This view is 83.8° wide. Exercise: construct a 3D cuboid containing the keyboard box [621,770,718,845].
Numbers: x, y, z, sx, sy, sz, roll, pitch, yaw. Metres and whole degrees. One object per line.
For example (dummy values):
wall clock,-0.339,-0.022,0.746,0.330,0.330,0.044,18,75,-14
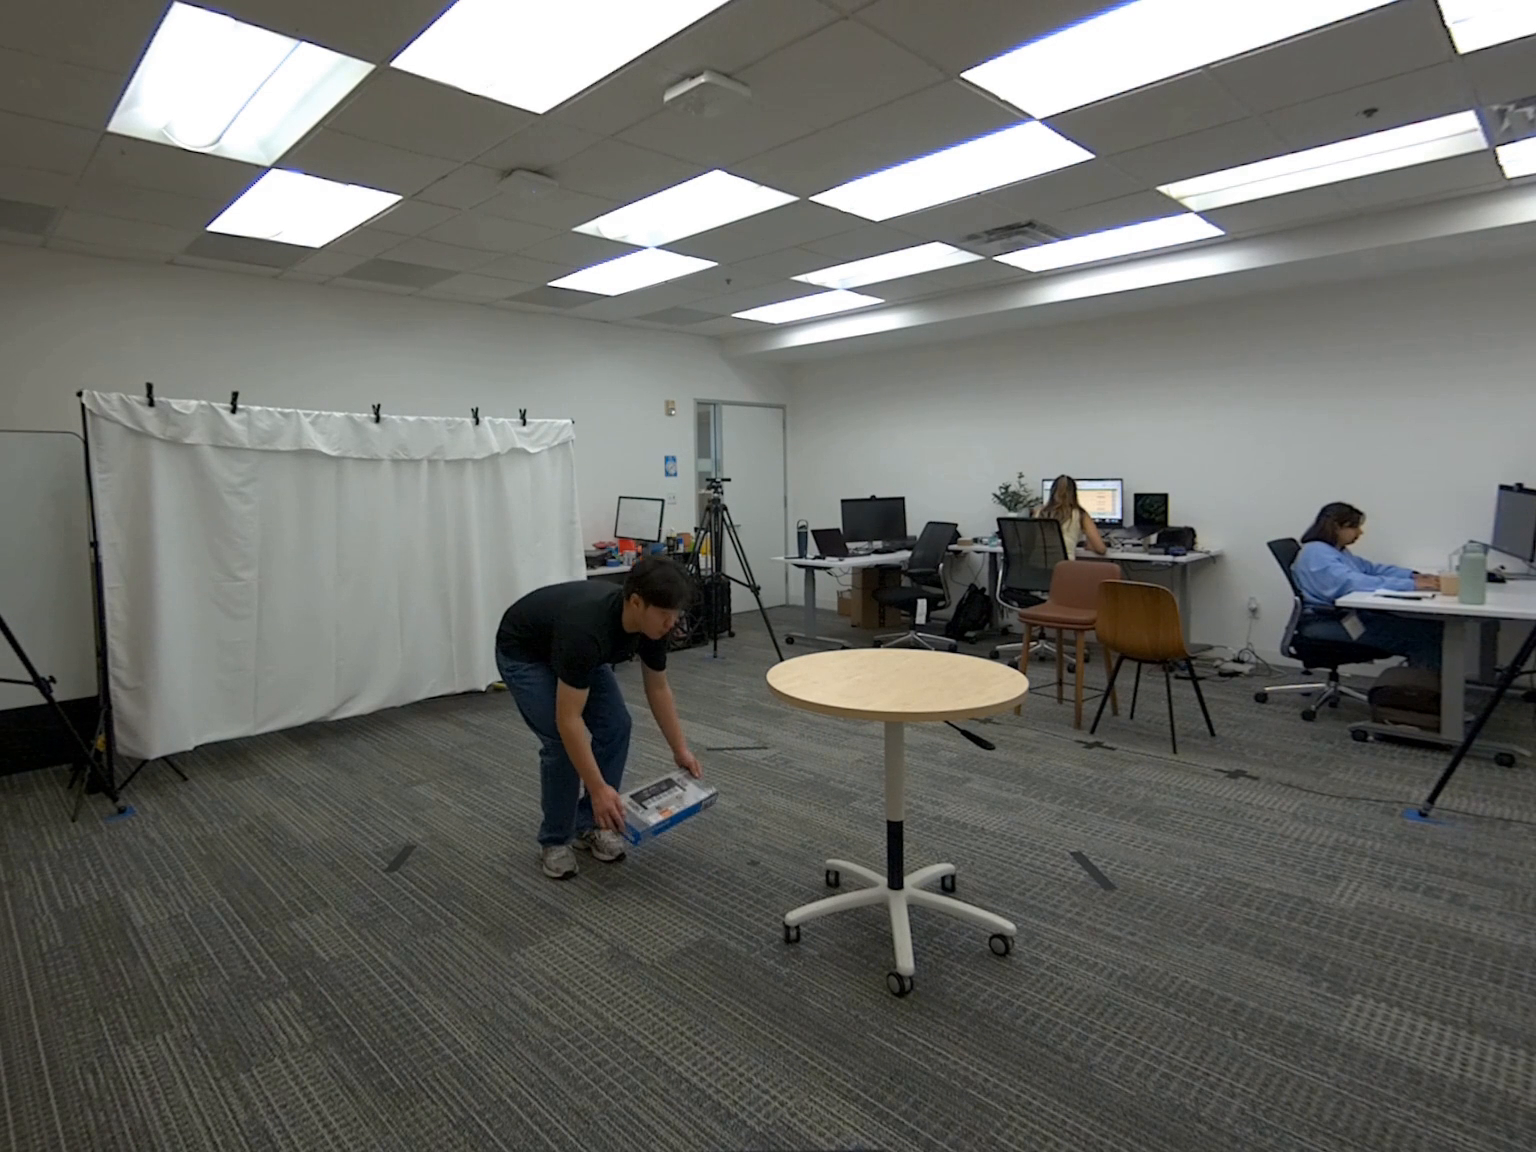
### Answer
keyboard box,-0.371,0.784,2.986,0.182,0.058,0.426,28,20,31
